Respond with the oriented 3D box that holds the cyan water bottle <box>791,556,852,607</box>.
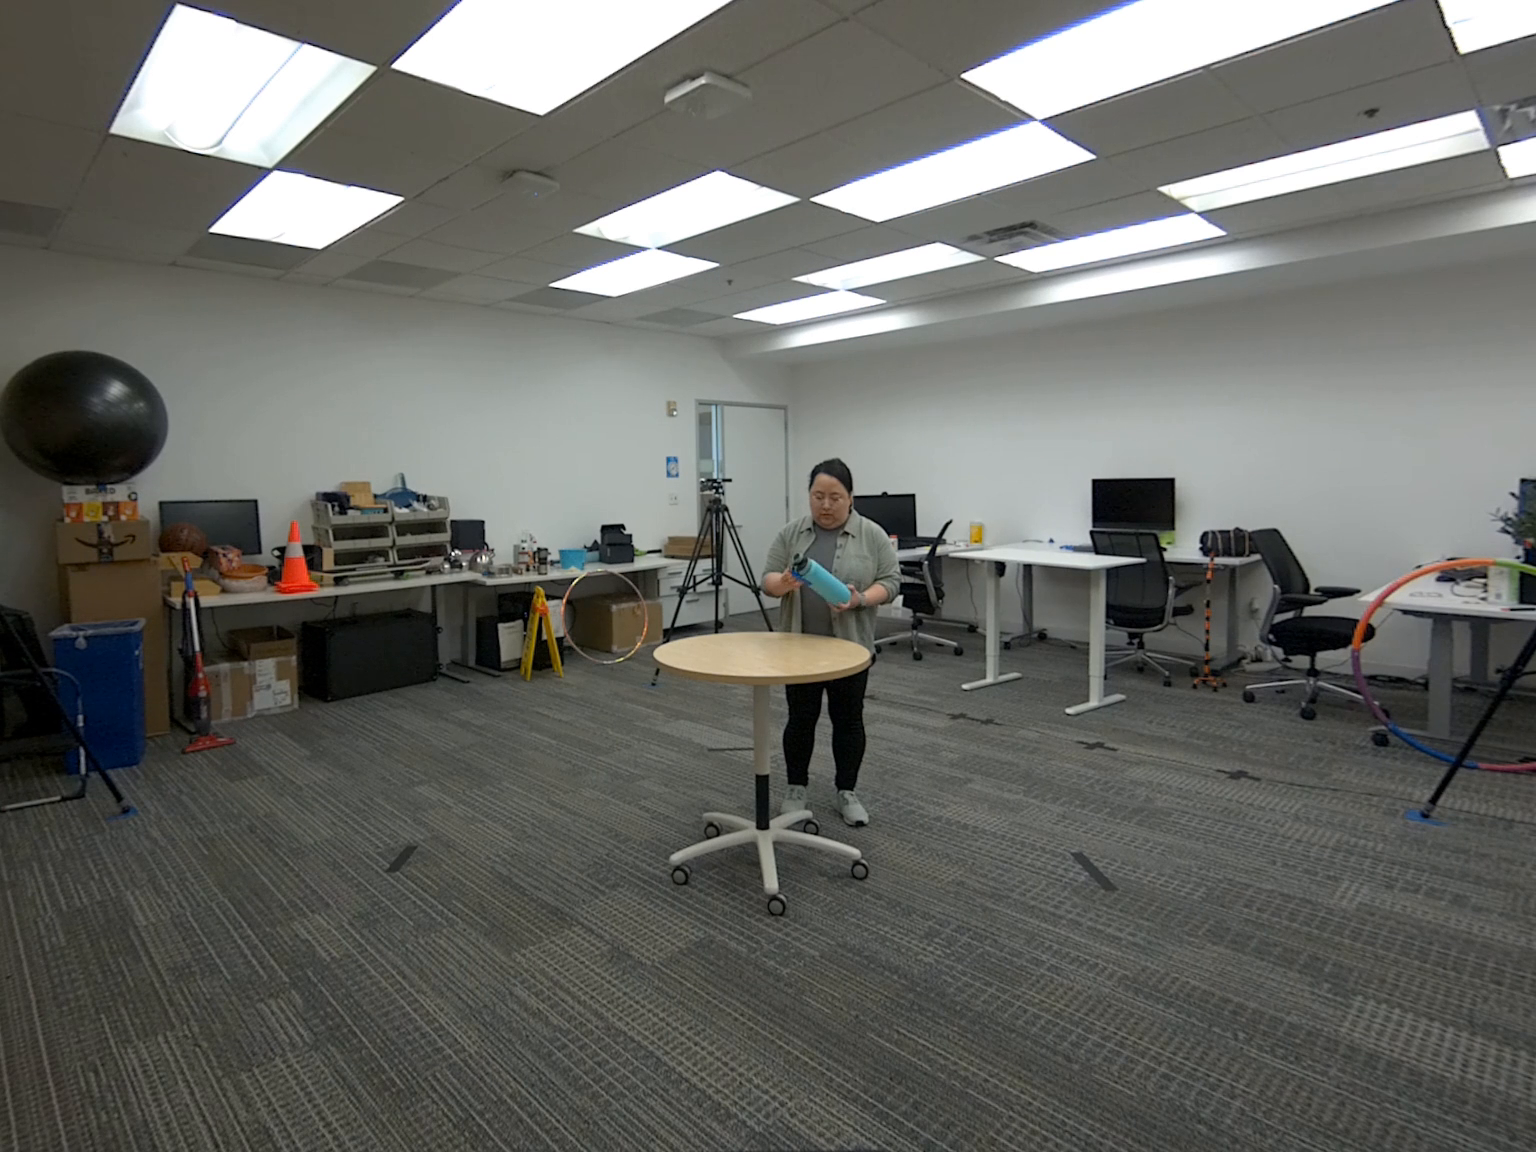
[{"bbox_3d":[0.194,0.014,3.228,0.274,0.093,0.095,40,-18,-29],"label":"cyan water bottle"}]
